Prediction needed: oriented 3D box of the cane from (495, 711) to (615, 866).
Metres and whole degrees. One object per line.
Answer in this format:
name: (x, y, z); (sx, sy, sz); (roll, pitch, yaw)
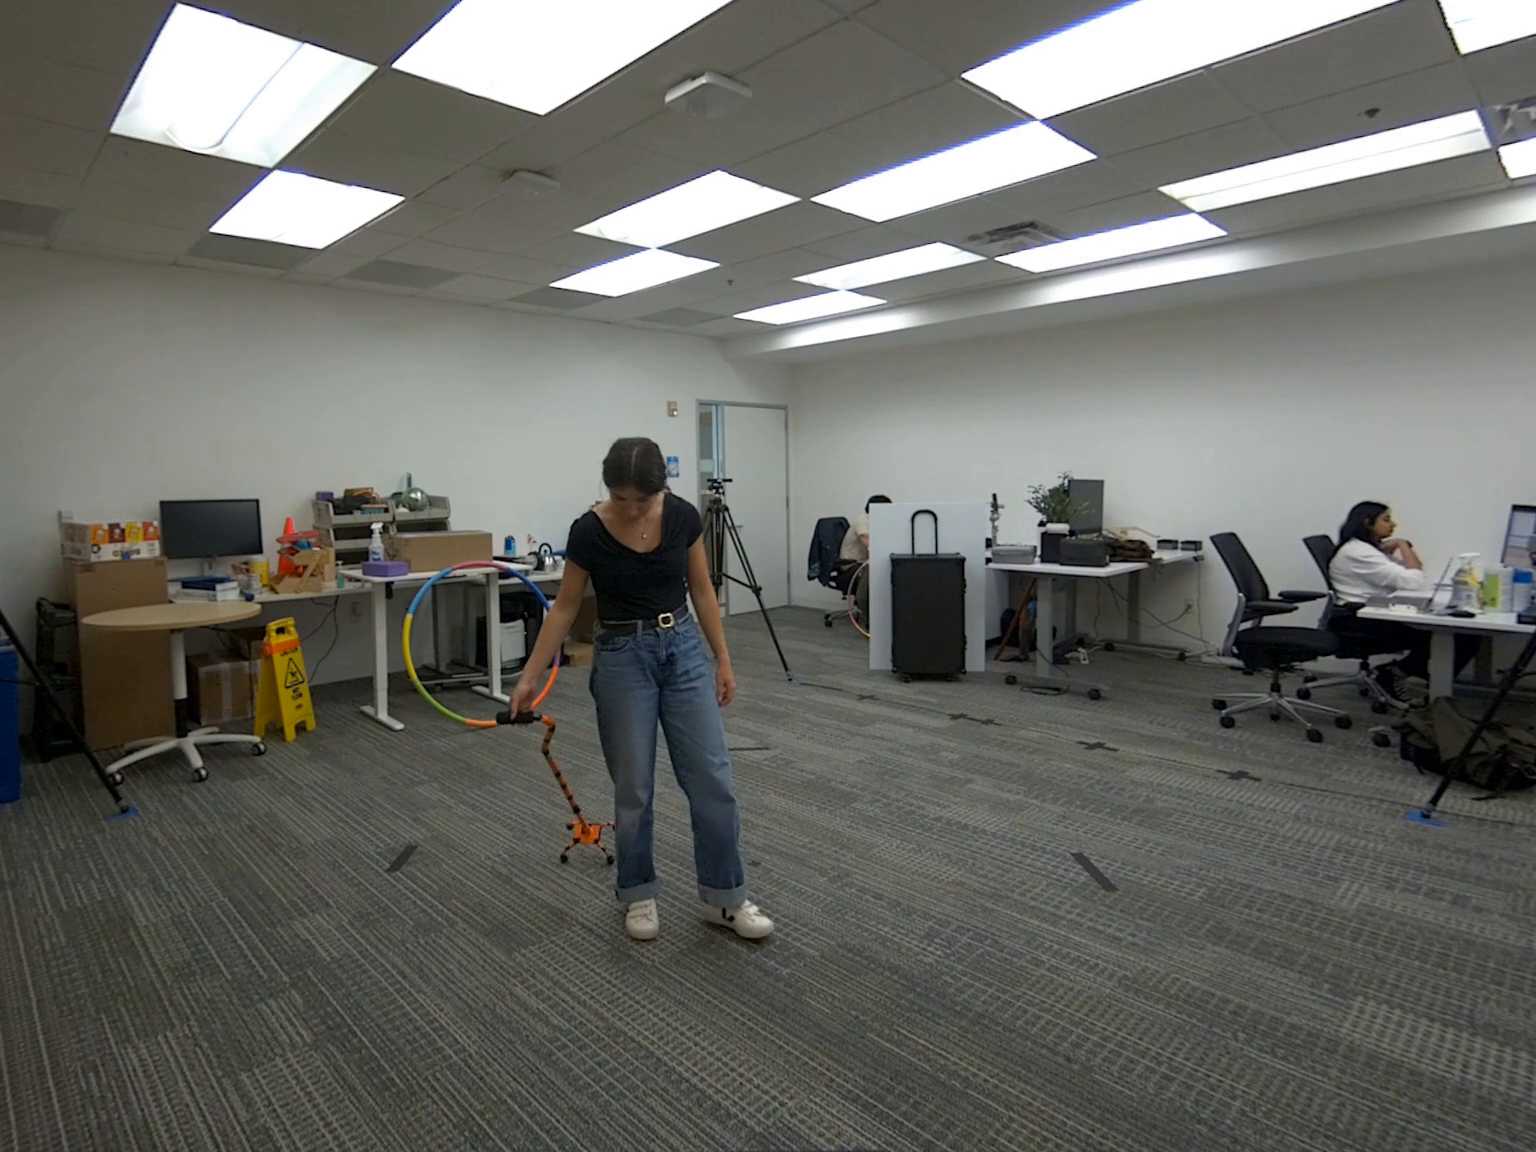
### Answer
cane: (-0.690, 0.715, 2.856); (0.207, 0.155, 0.880); (-1, -41, 5)
